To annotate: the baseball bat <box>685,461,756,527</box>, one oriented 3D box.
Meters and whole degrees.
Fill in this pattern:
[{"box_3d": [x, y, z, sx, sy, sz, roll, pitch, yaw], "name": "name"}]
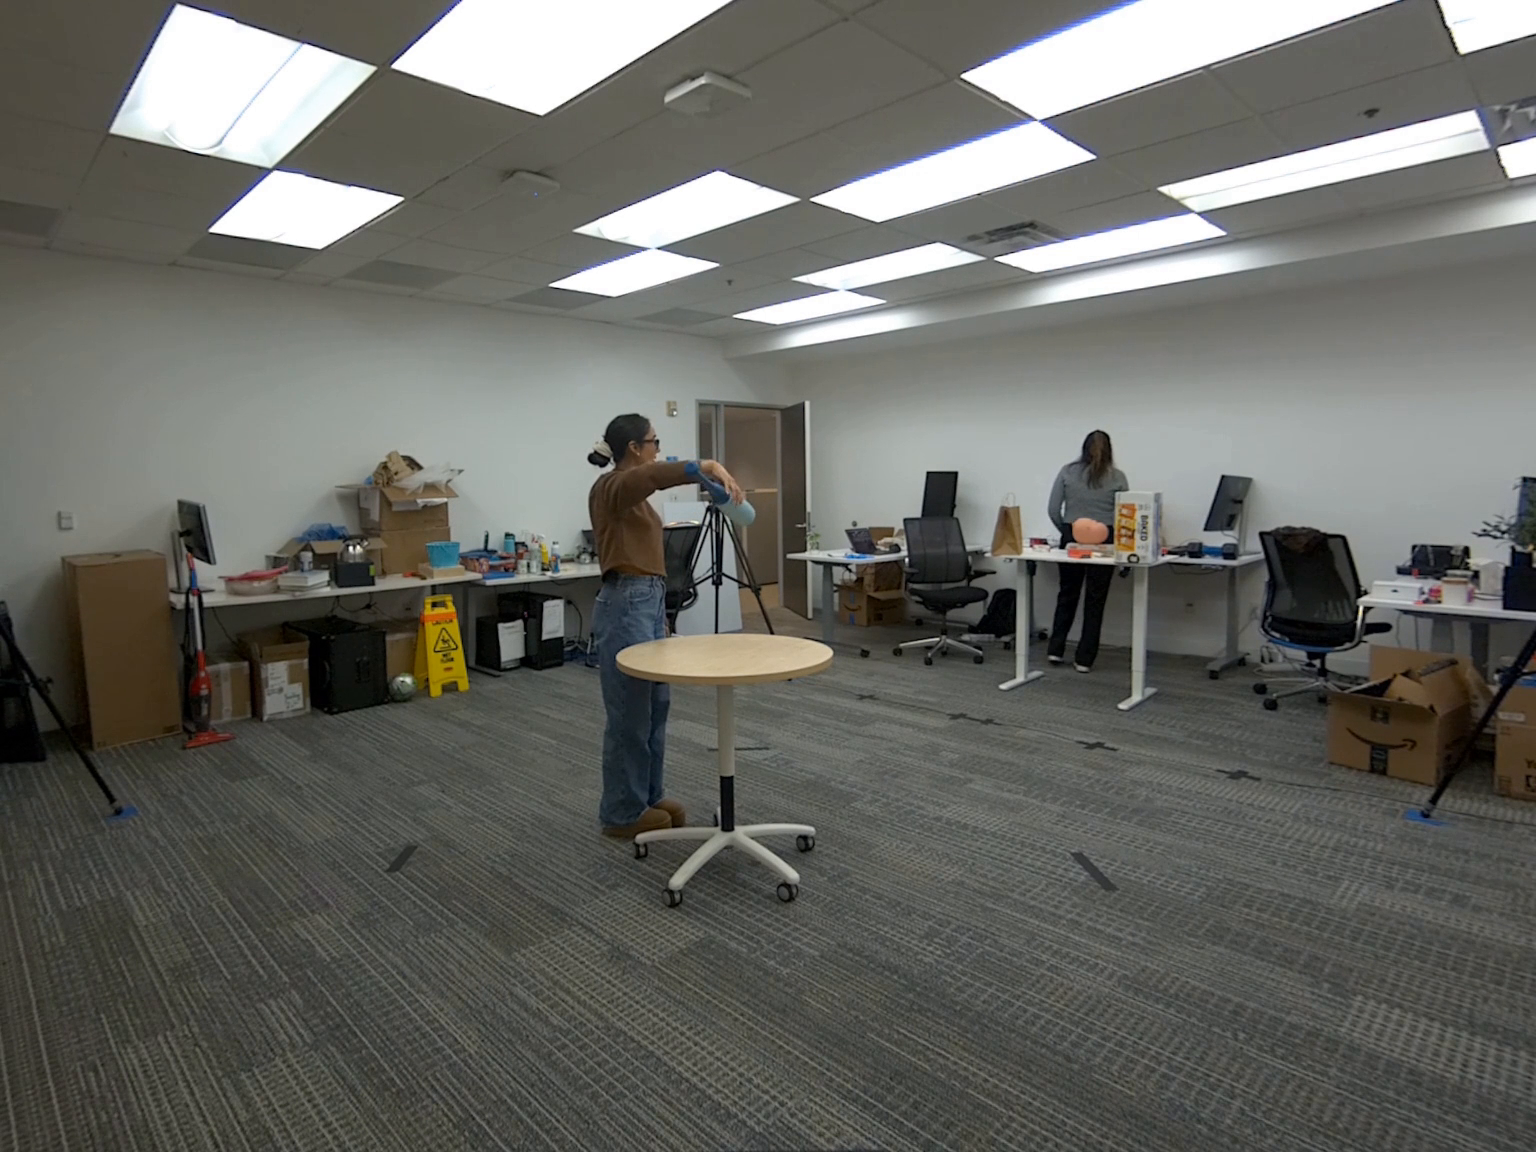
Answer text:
[{"box_3d": [-0.164, -0.278, 2.949, 0.090, 0.090, 0.528, 1, -13, 15], "name": "baseball bat"}]
